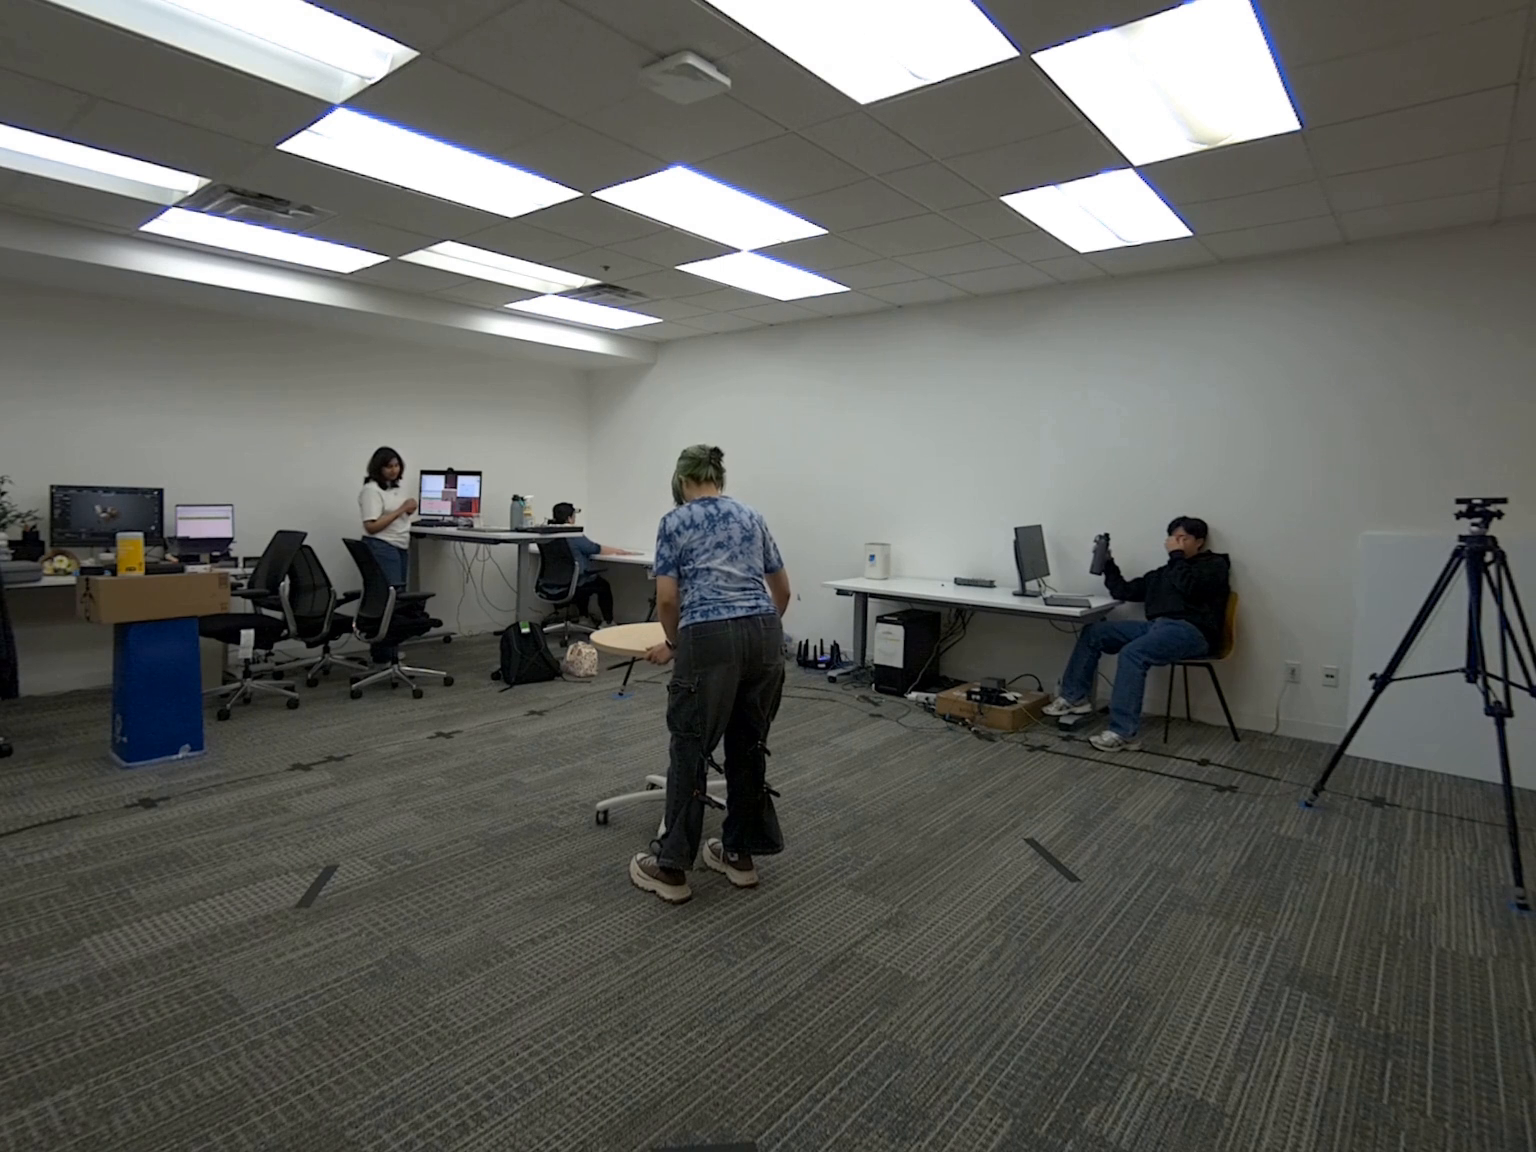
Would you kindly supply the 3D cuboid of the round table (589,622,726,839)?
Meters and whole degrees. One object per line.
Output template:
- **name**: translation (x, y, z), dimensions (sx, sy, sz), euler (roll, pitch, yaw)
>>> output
- **round table**: translation (-0.374, 0.635, 3.543), dimensions (0.763, 0.792, 0.767), euler (1, 4, -2)
